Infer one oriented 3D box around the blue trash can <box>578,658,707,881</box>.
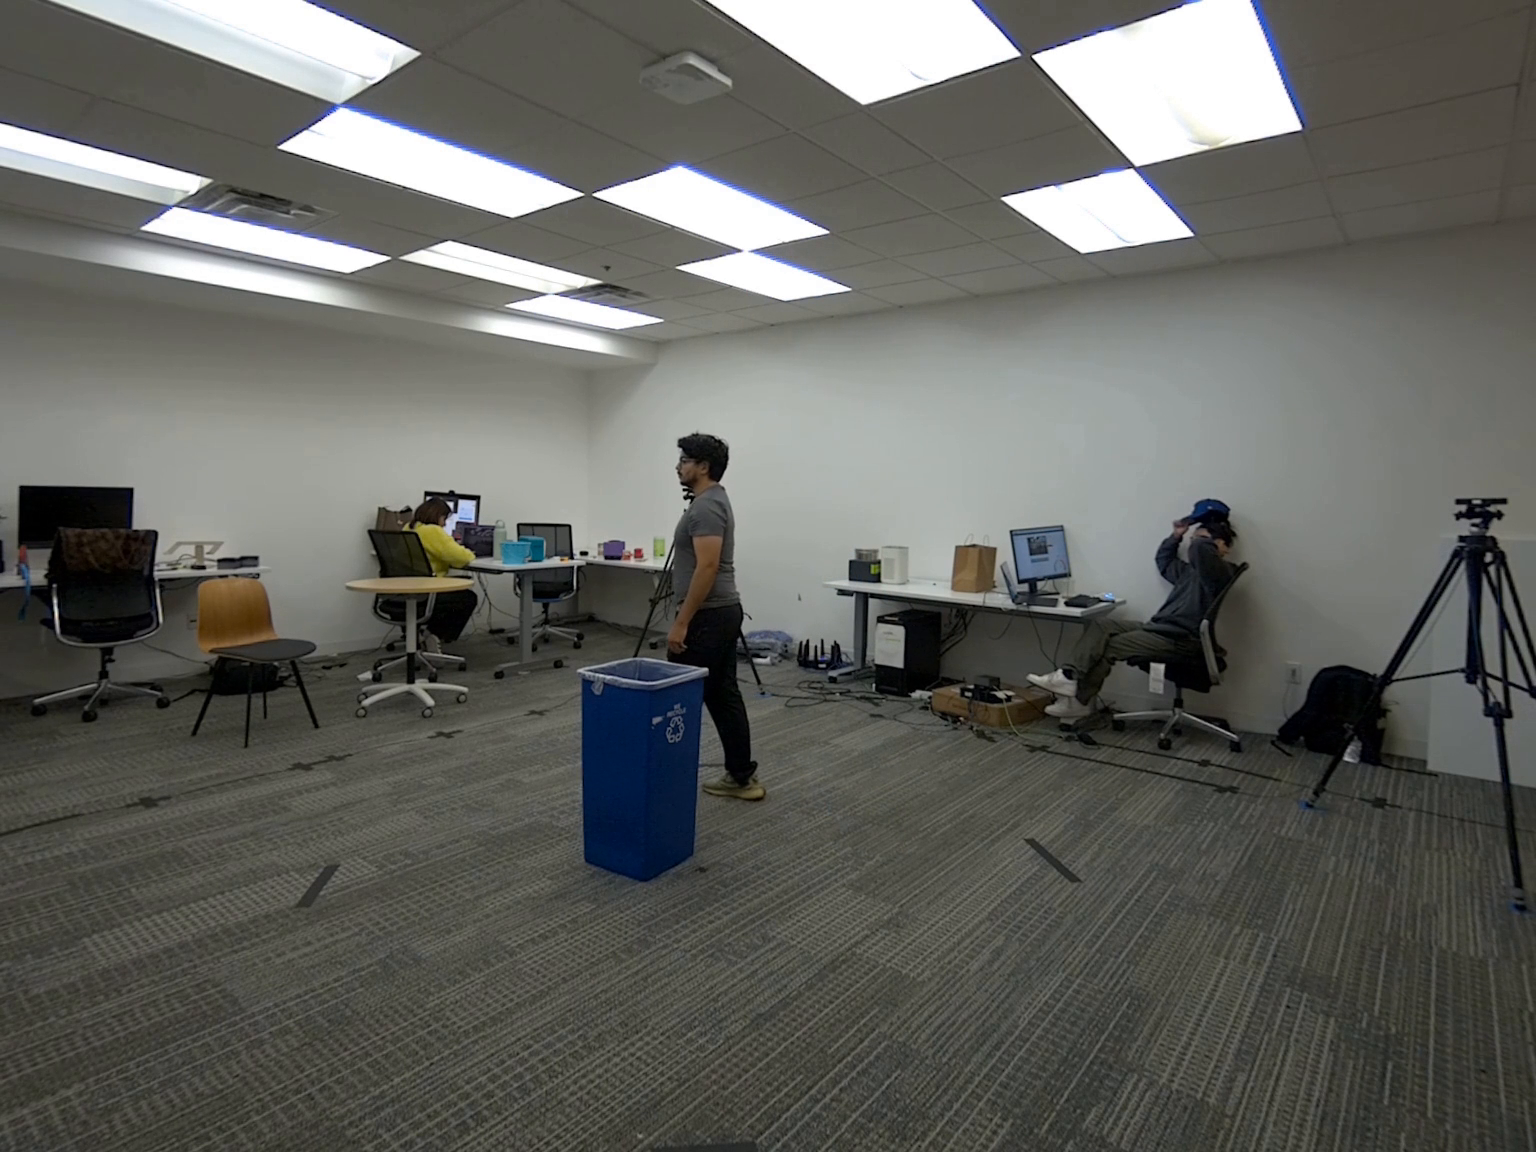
[{"bbox_3d":[-0.482,0.699,3.190,0.390,0.712,0.364,3,3,33],"label":"blue trash can"}]
